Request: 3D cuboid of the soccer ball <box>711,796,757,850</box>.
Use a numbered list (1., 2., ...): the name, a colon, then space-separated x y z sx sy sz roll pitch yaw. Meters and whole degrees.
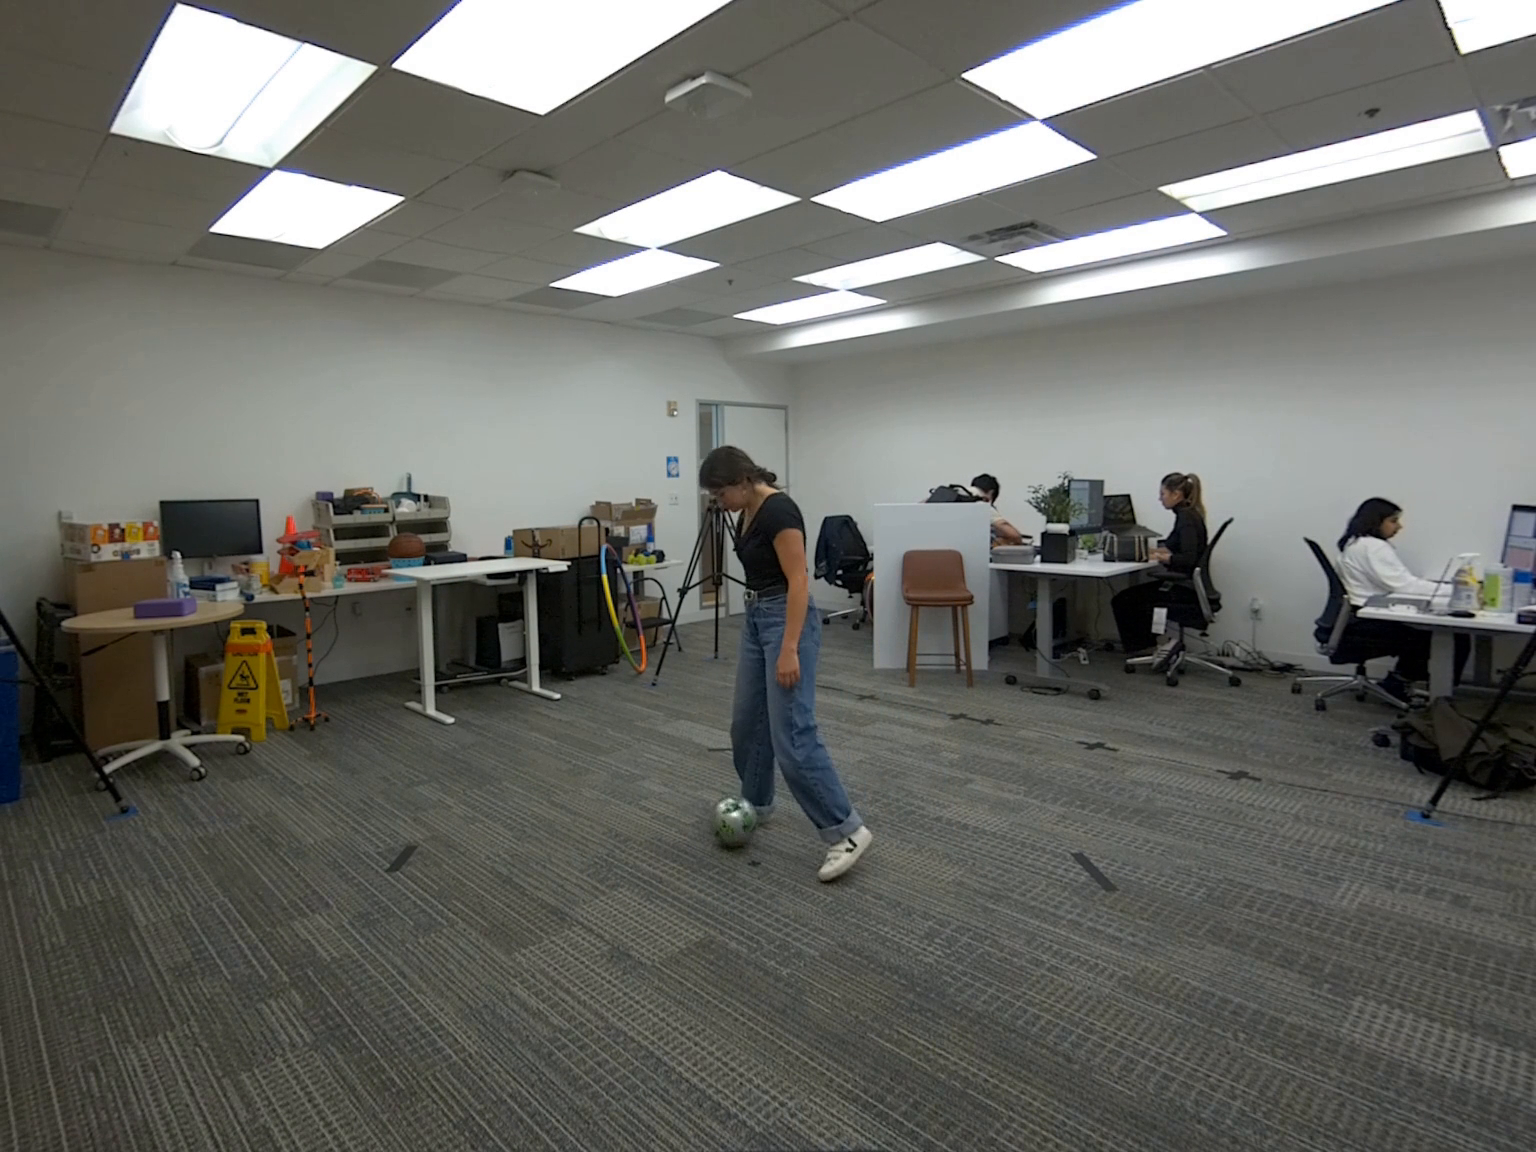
1. soccer ball: -0.133 0.937 3.267 0.187 0.187 0.188 -1 5 -2
